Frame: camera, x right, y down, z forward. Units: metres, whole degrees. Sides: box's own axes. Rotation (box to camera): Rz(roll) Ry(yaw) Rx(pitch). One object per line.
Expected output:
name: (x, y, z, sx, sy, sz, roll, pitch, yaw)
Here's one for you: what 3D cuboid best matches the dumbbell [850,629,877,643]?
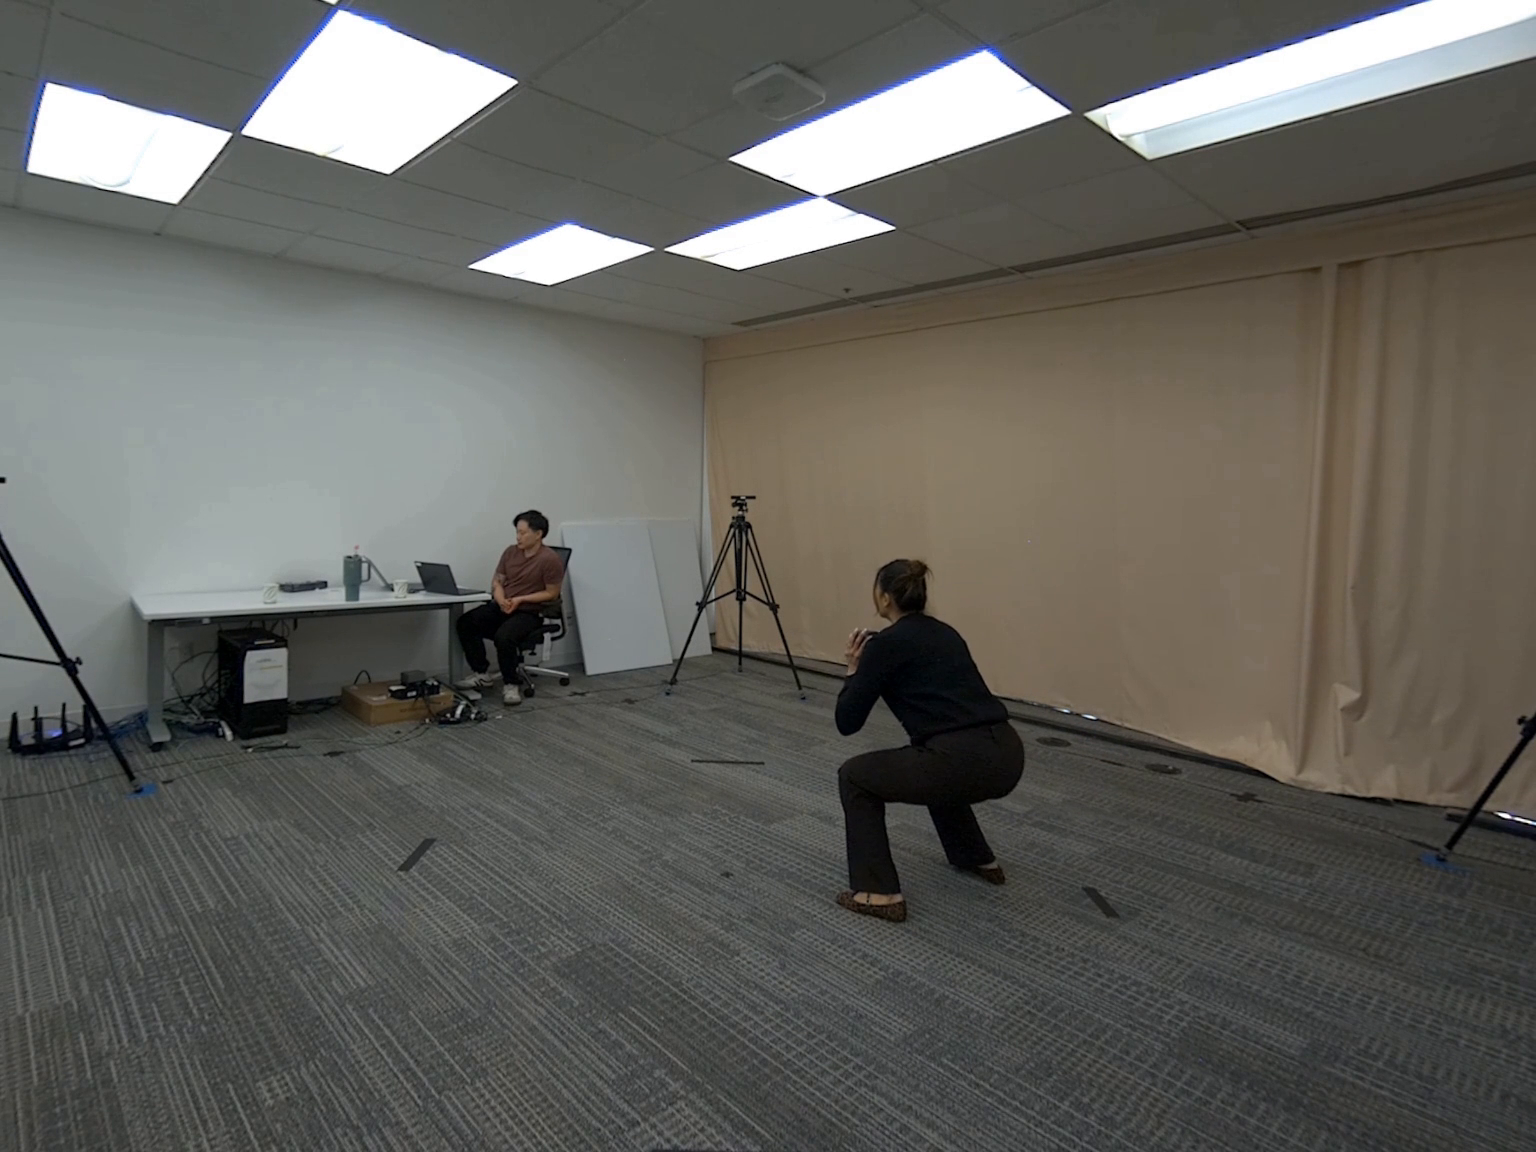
dumbbell: (0.457, 0.247, 3.172, 0.287, 0.122, 0.112, -3, 37, -39)
